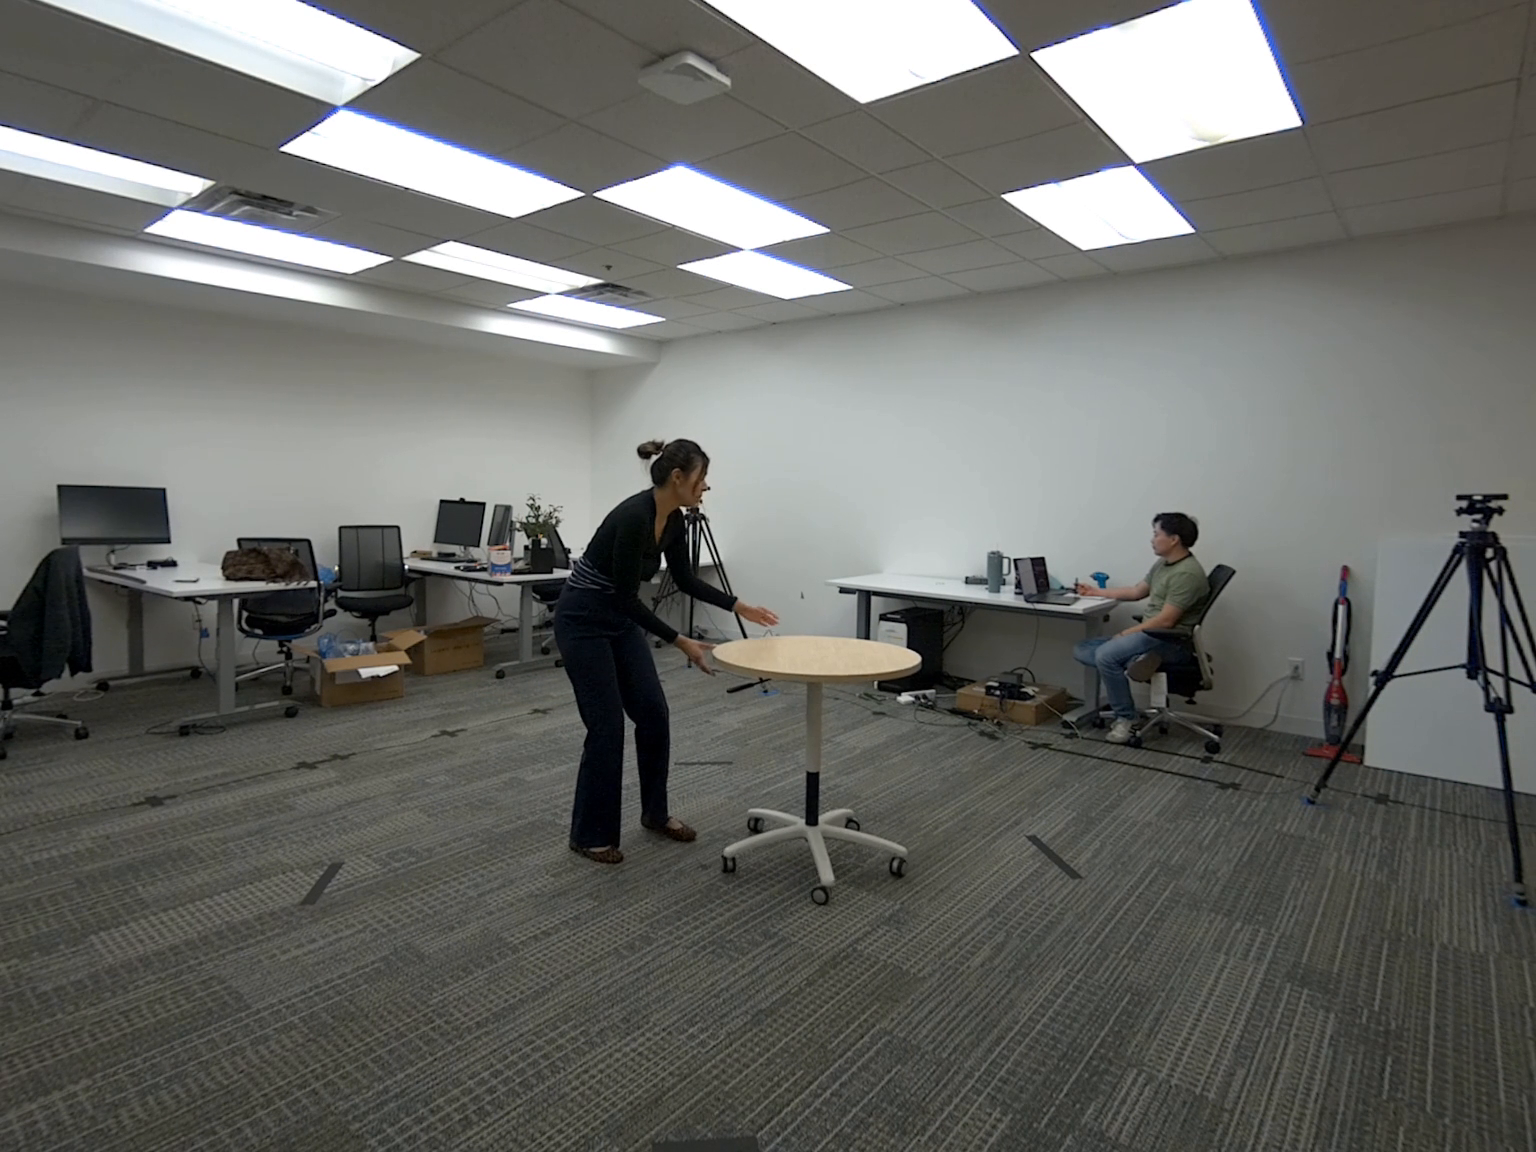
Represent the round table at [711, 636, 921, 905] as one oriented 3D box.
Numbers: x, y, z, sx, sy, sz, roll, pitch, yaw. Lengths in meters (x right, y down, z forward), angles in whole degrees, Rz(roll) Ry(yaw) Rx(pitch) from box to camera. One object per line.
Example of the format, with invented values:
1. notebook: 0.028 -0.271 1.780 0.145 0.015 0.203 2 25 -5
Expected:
1. round table: 0.158 0.677 3.173 0.763 0.792 0.767 1 4 -2
